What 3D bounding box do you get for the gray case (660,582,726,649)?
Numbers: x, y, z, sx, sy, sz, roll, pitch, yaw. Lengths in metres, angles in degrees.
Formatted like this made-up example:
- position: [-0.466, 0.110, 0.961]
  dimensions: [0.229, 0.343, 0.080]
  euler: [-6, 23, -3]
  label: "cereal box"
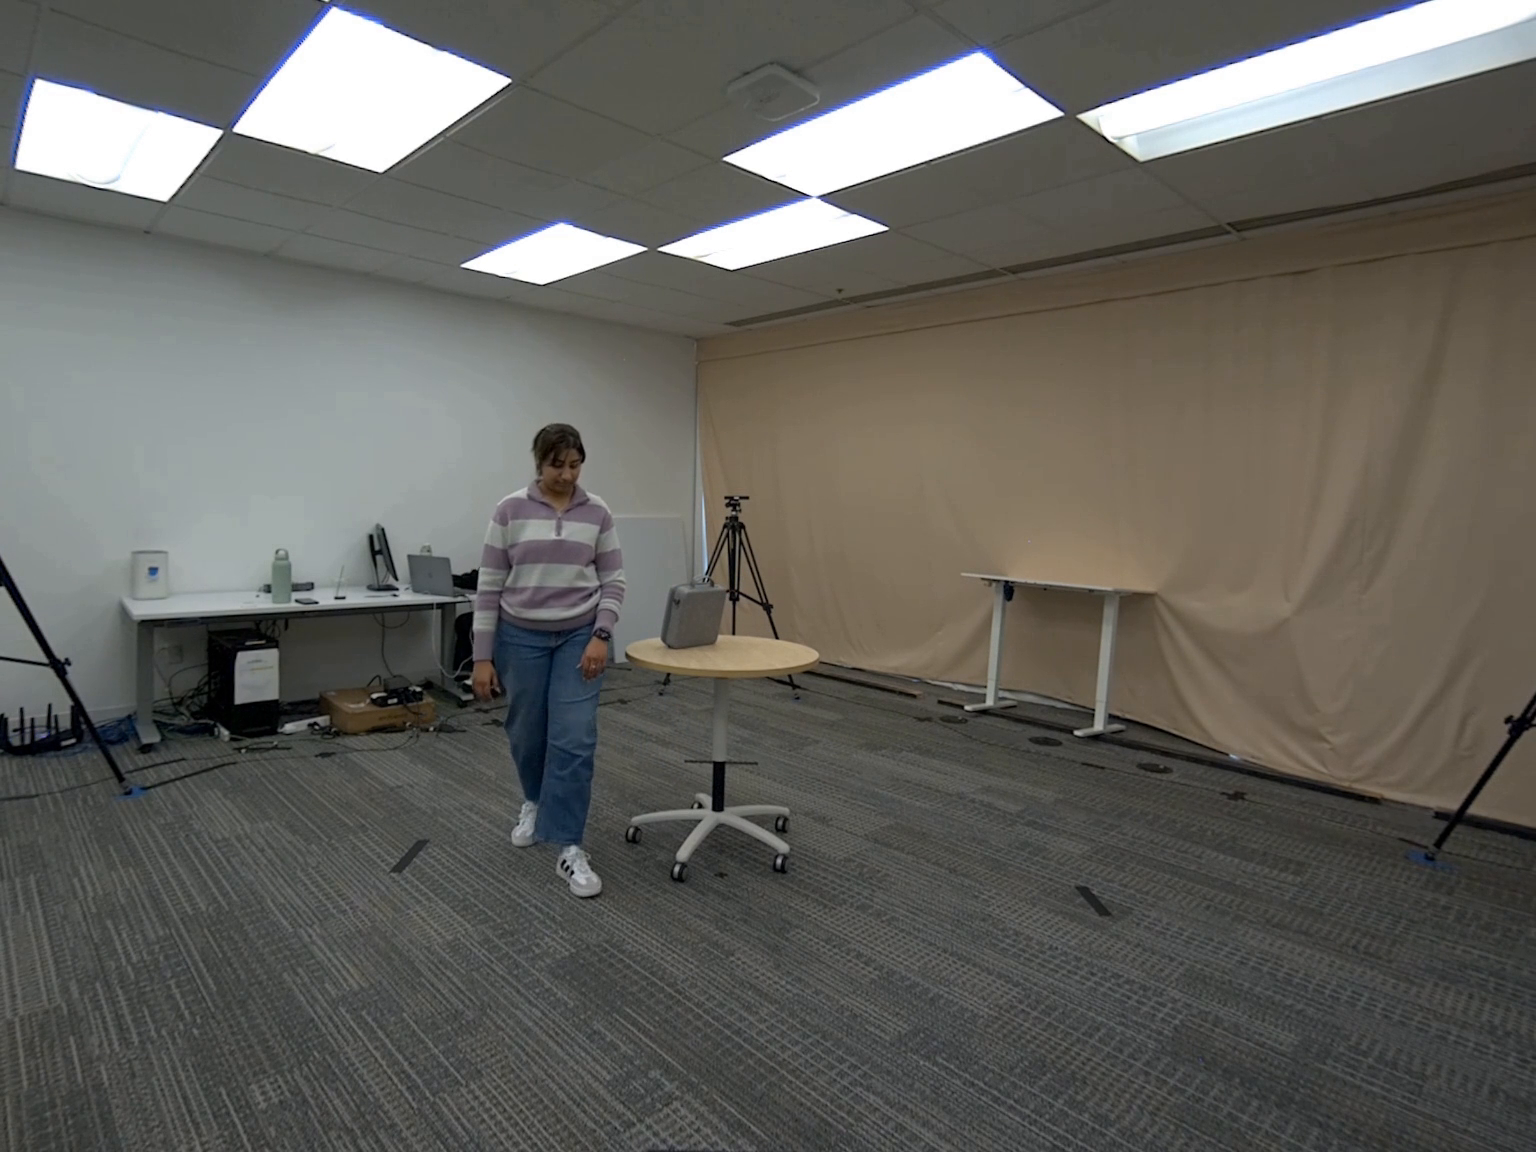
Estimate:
- position: [-0.306, 0.154, 3.418]
  dimensions: [0.107, 0.259, 0.251]
  euler: [20, 16, 39]
  label: "gray case"
